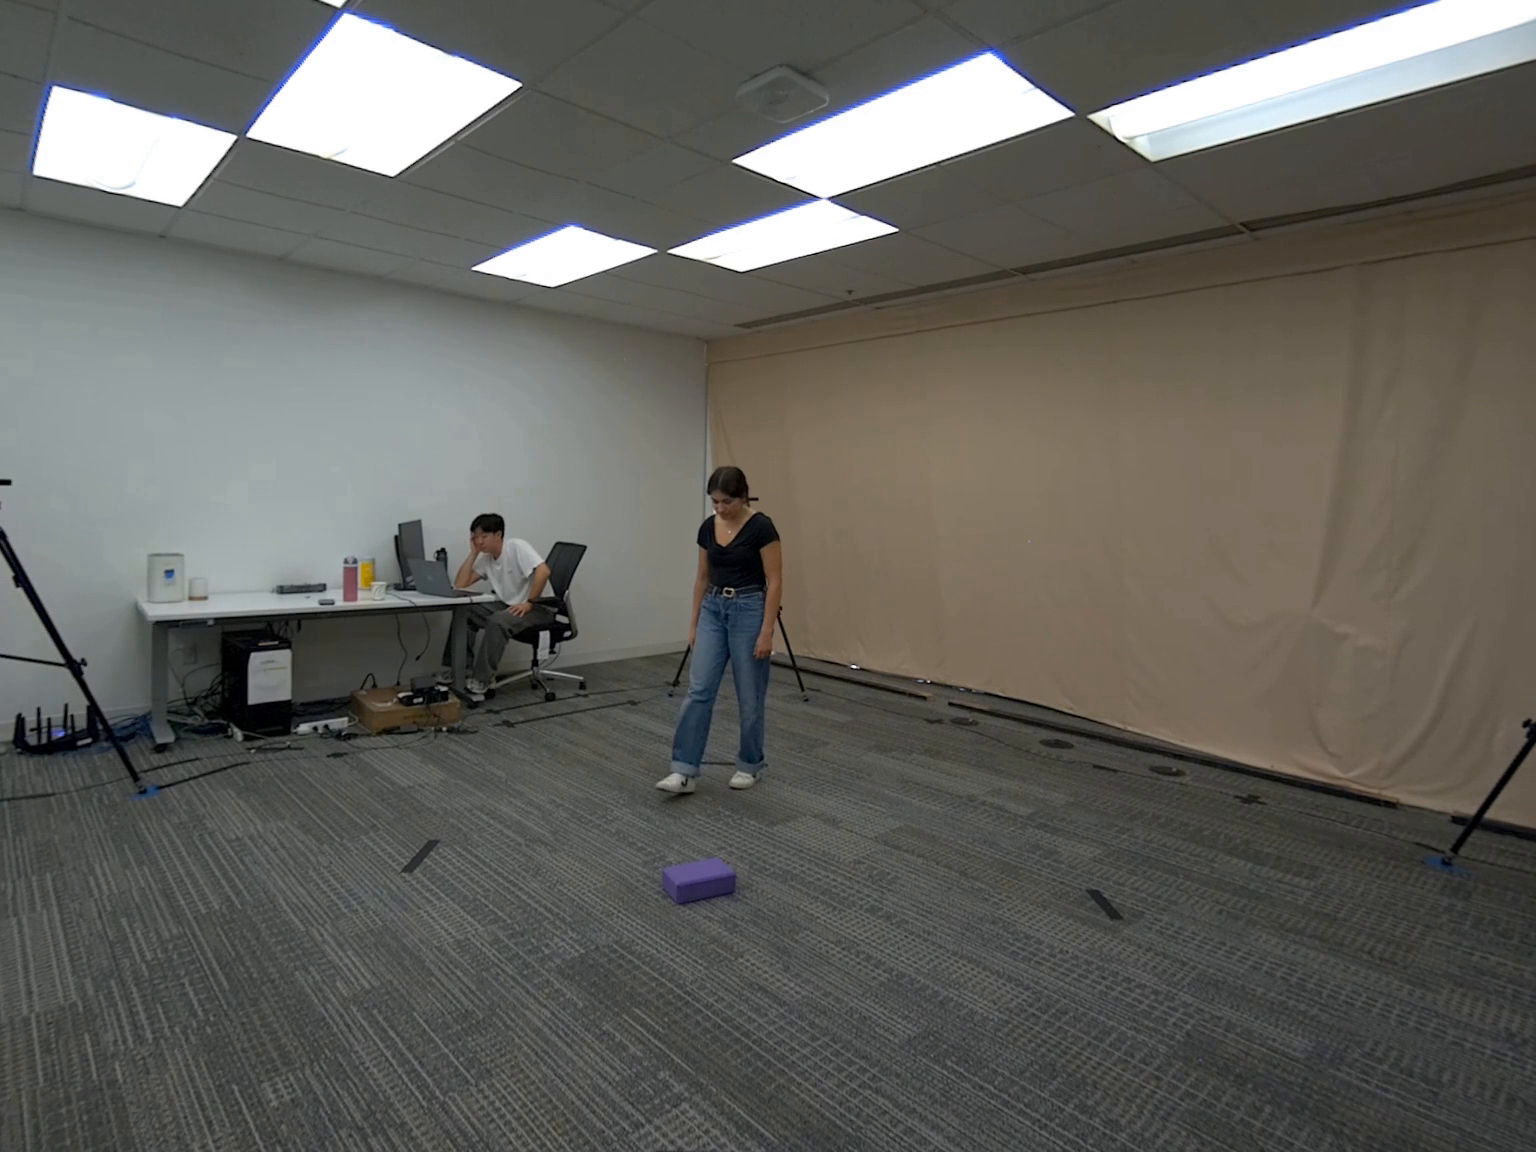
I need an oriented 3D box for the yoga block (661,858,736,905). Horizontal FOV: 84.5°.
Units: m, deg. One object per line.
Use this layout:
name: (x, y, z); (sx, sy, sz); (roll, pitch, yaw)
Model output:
yoga block: (-0.254, 1.083, 2.970); (0.225, 0.076, 0.152); (-2, 5, -28)
